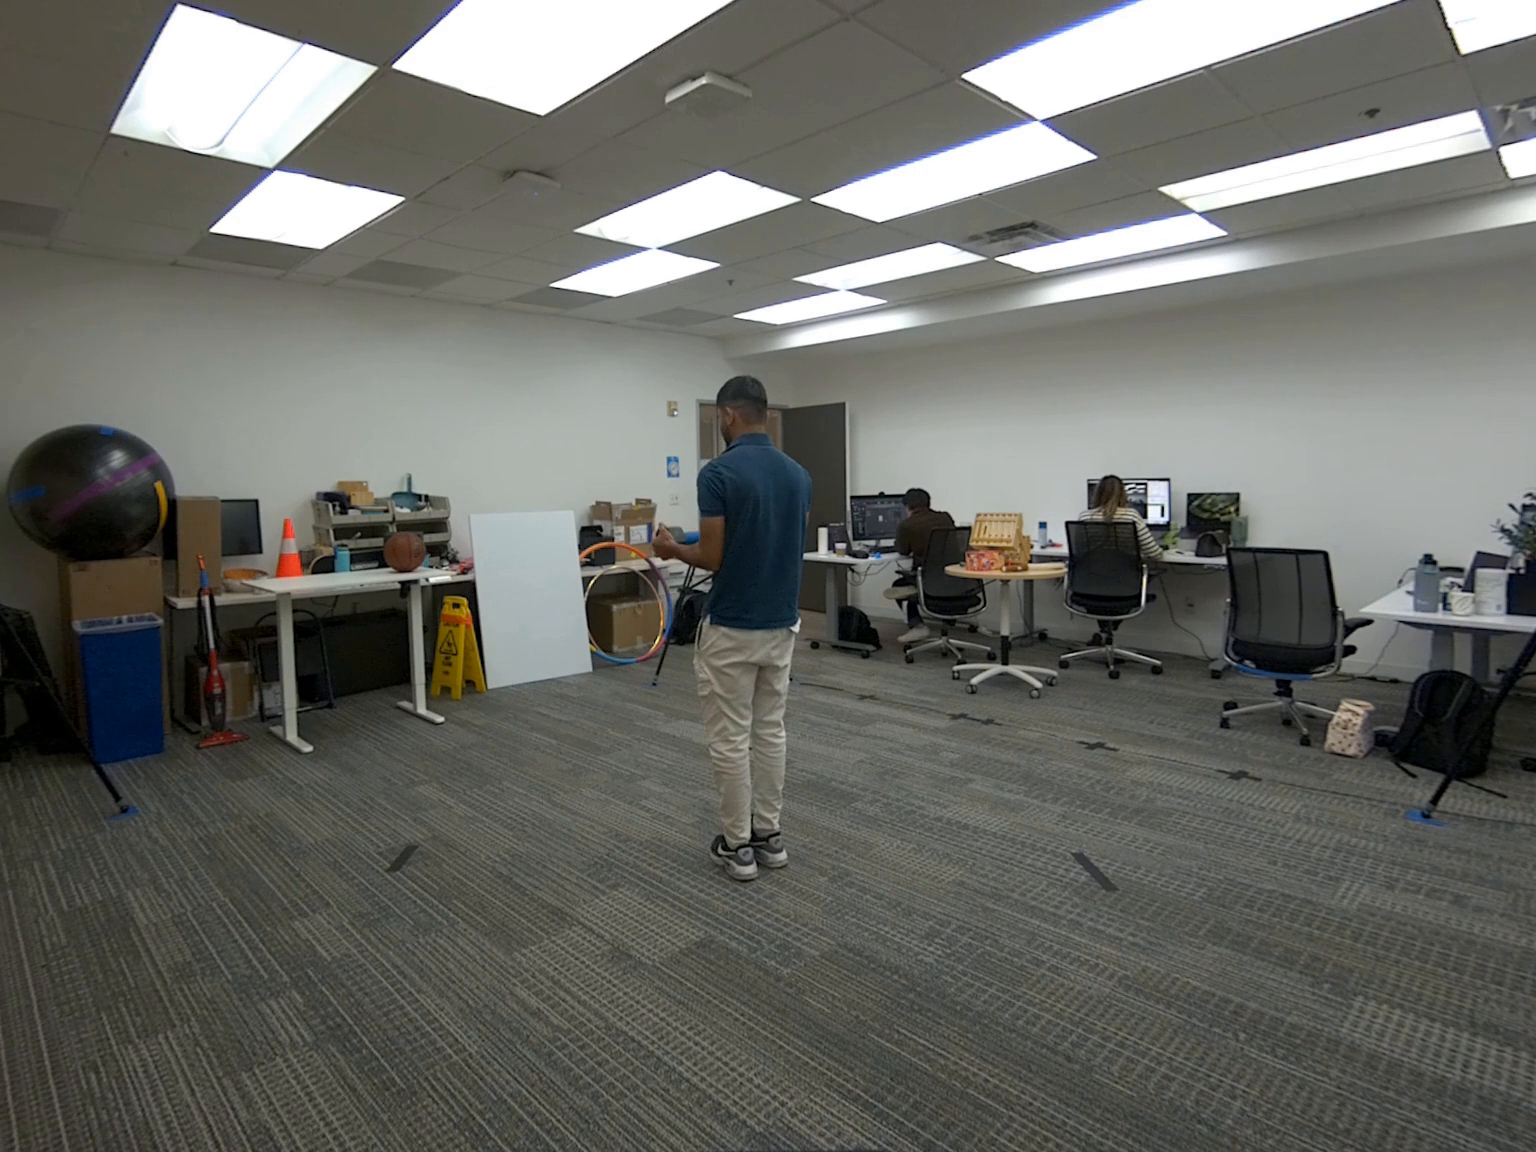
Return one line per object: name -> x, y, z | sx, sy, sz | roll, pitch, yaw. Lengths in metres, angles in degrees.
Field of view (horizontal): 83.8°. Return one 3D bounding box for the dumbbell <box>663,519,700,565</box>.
dumbbell -> -0.254, -0.135, 3.249 | 0.286, 0.121, 0.113 | -5, 34, -32
